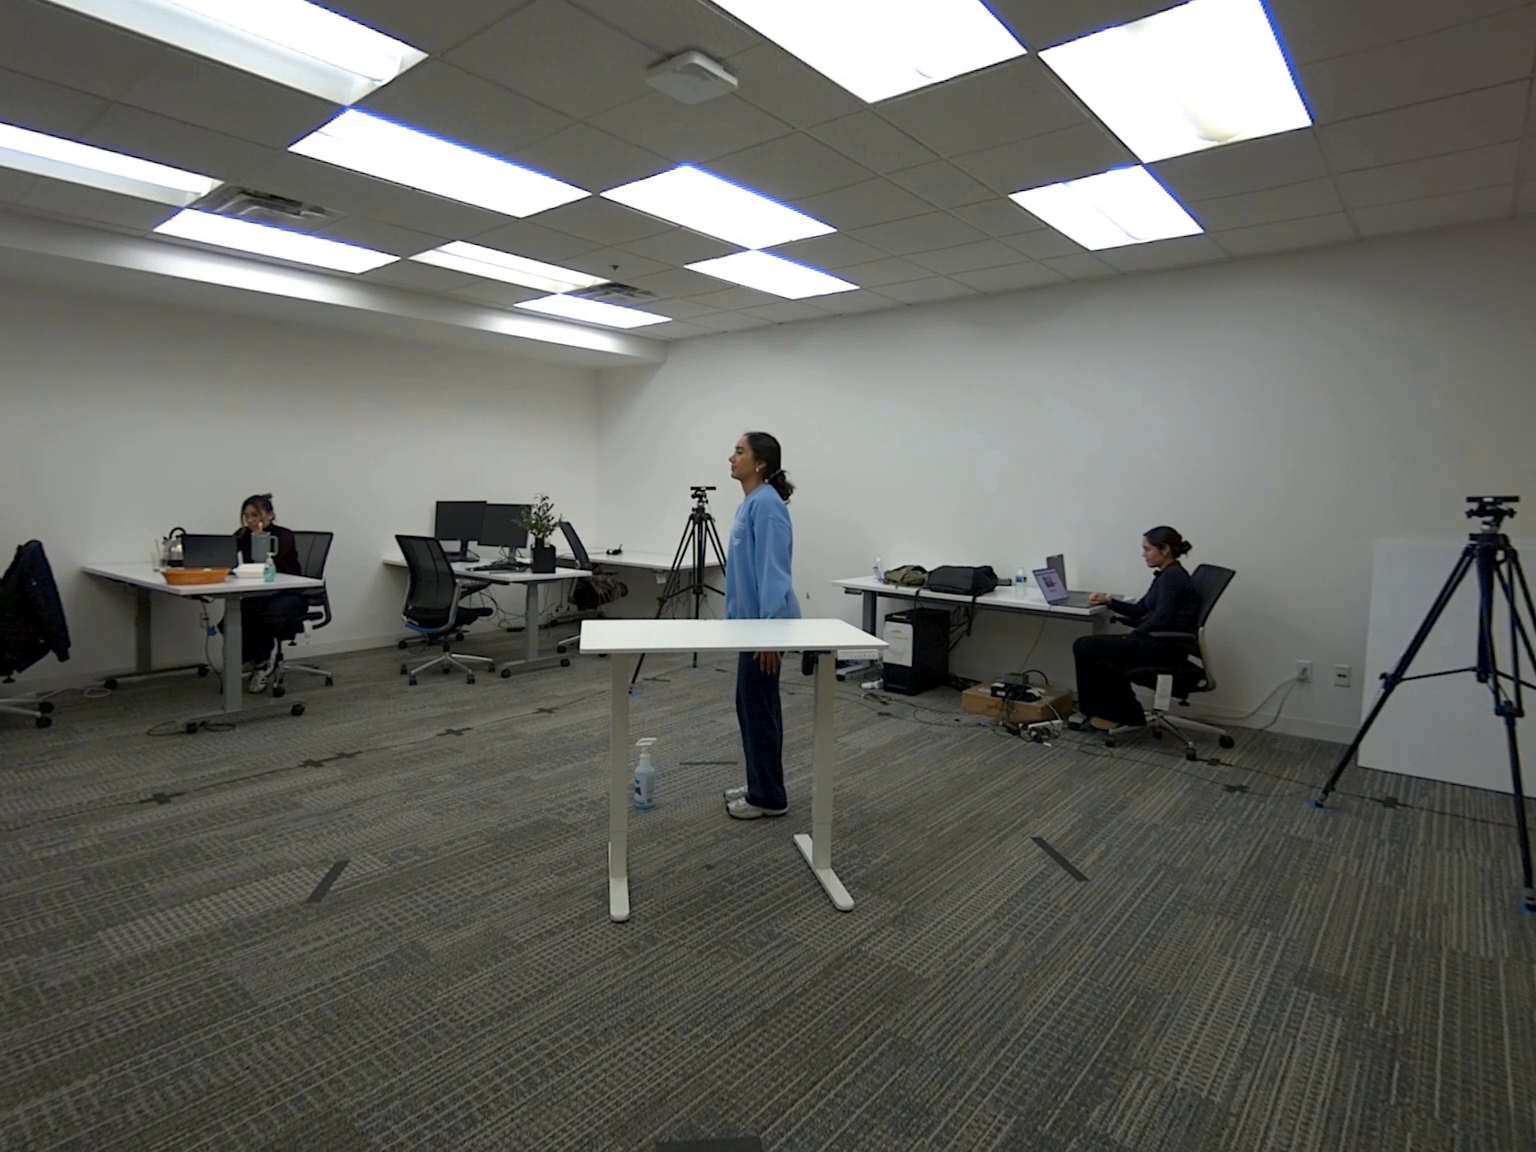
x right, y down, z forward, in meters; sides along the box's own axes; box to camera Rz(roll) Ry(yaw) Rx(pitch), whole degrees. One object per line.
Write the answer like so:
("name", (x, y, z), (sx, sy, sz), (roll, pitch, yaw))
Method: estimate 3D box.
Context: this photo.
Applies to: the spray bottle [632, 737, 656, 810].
("spray bottle", (-0.549, 0.860, 3.715), (0.092, 0.296, 0.085), (2, 4, 22))
